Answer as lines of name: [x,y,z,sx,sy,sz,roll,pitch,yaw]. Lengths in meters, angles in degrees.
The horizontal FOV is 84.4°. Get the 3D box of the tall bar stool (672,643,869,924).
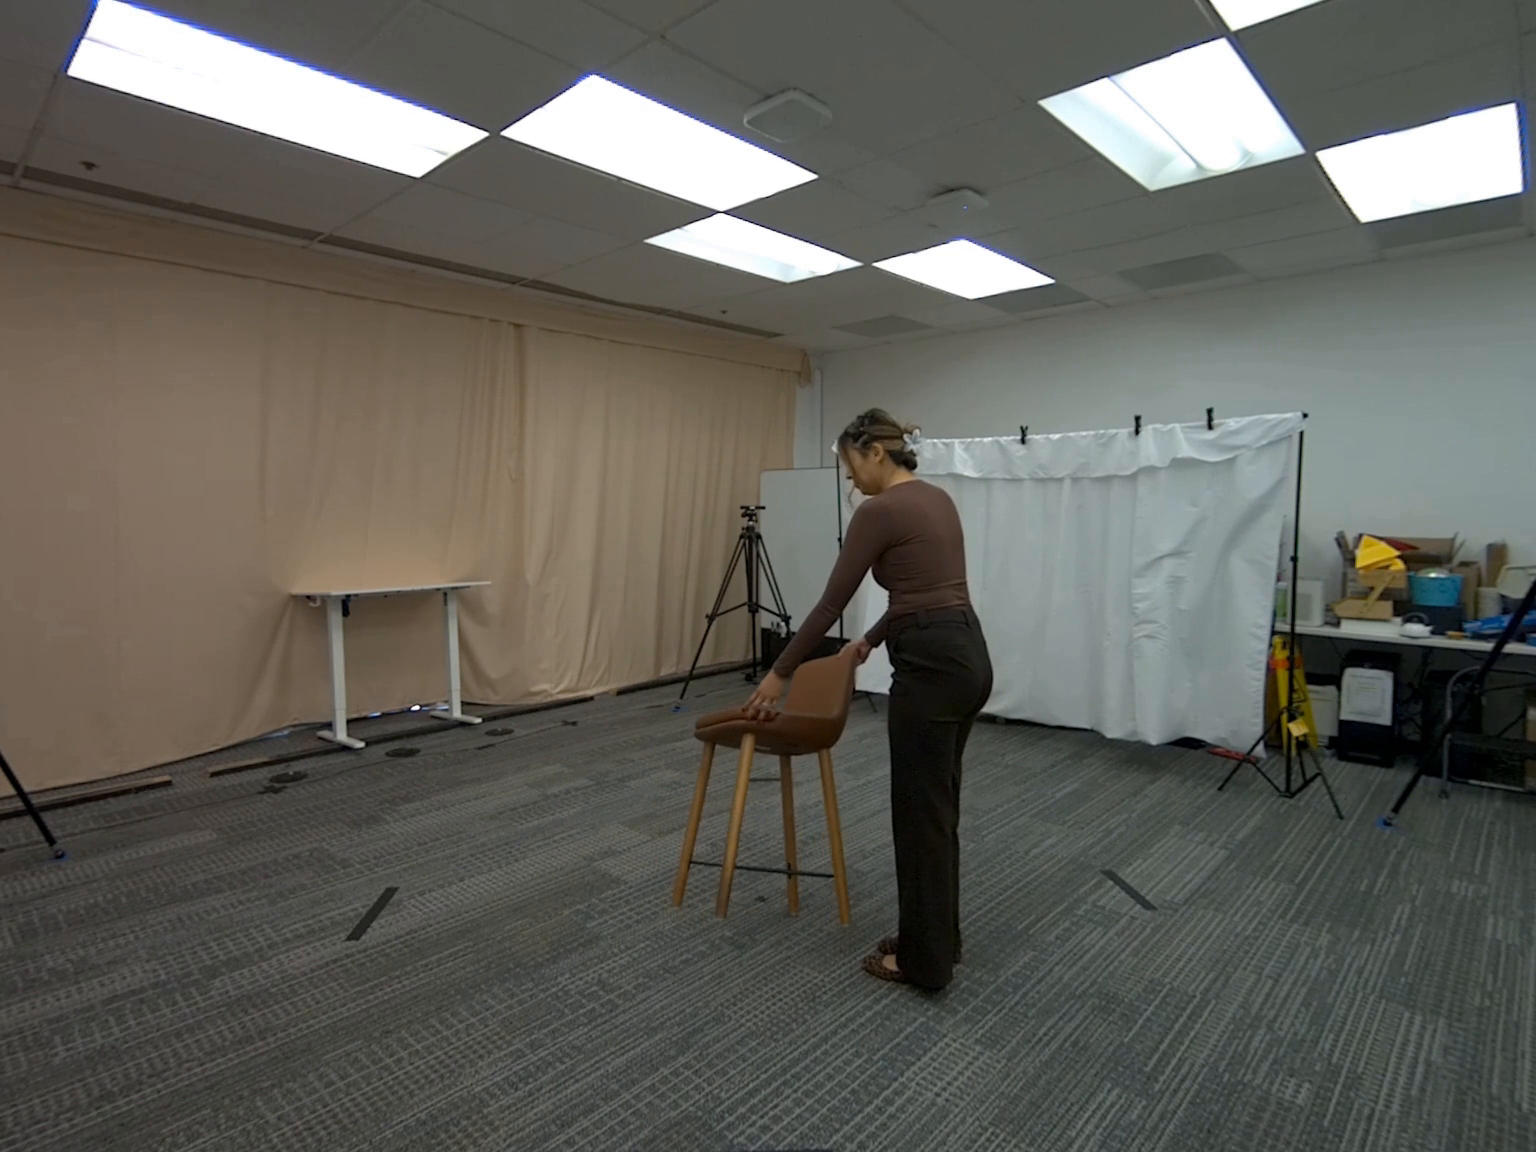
tall bar stool: [0.009,0.656,2.790,0.457,0.898,0.463,14,-20,-21]
